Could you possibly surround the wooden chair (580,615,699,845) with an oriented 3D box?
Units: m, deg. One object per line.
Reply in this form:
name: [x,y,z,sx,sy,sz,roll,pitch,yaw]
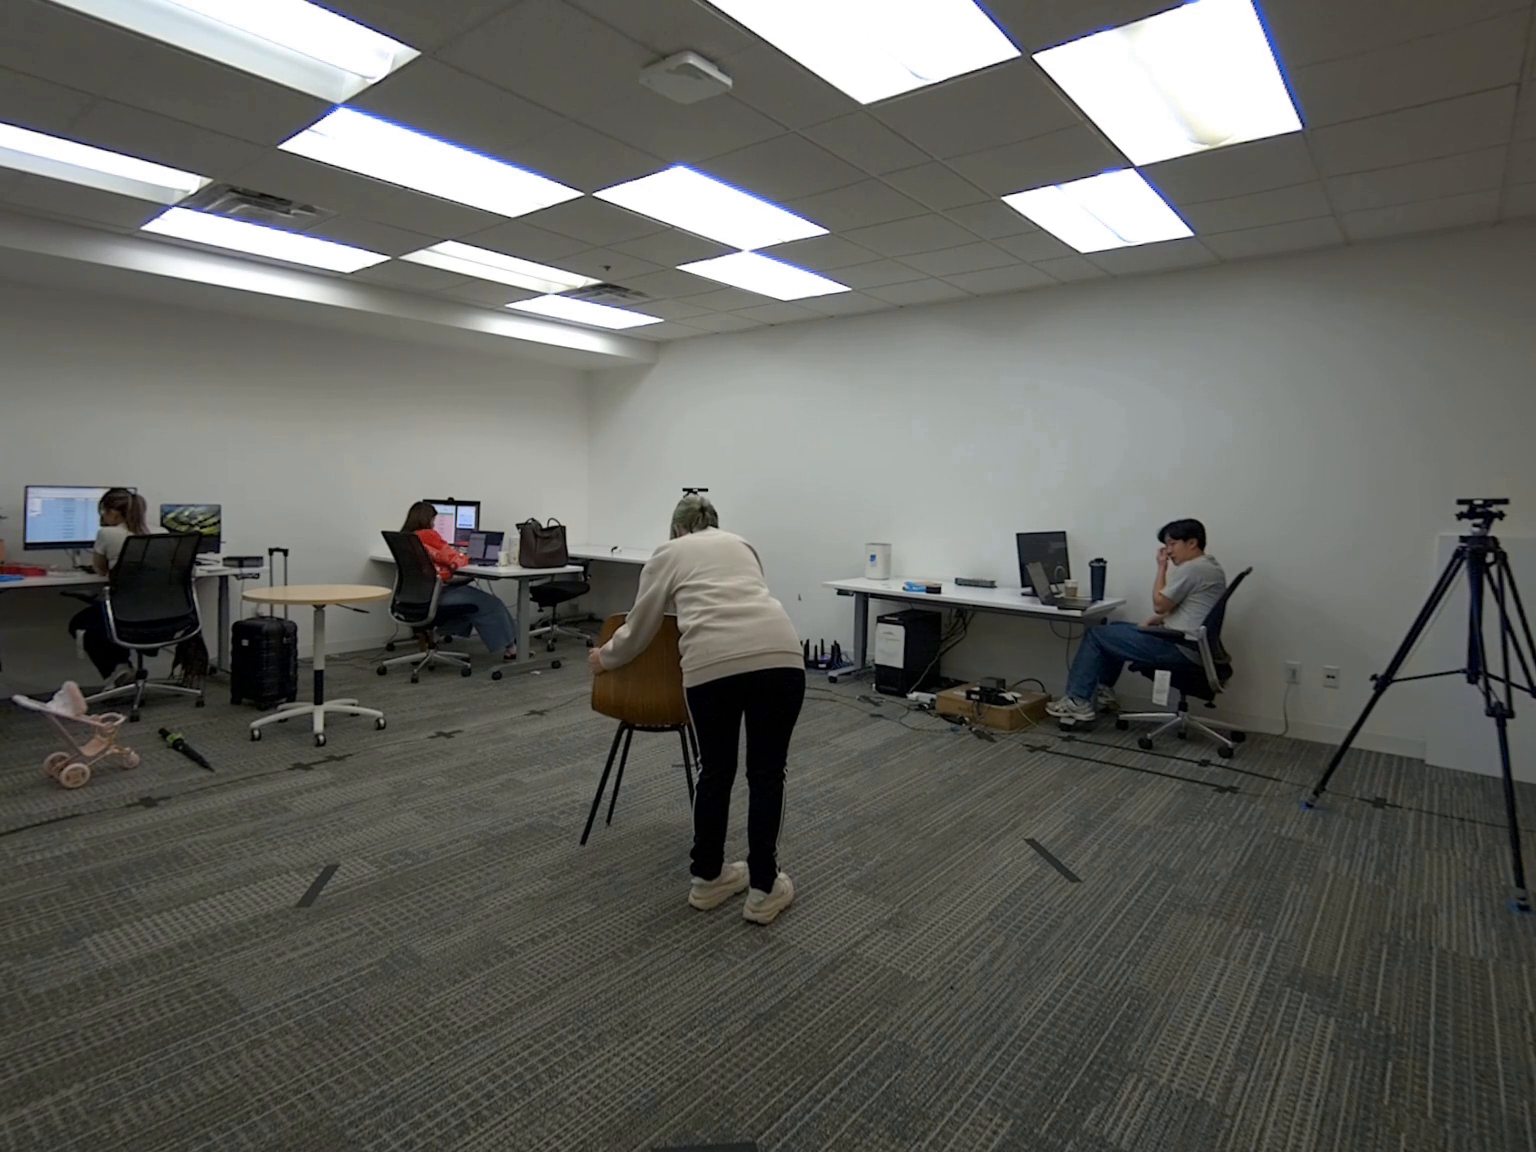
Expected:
wooden chair: [-0.448,0.579,3.346,0.481,0.881,0.518,1,-4,4]
